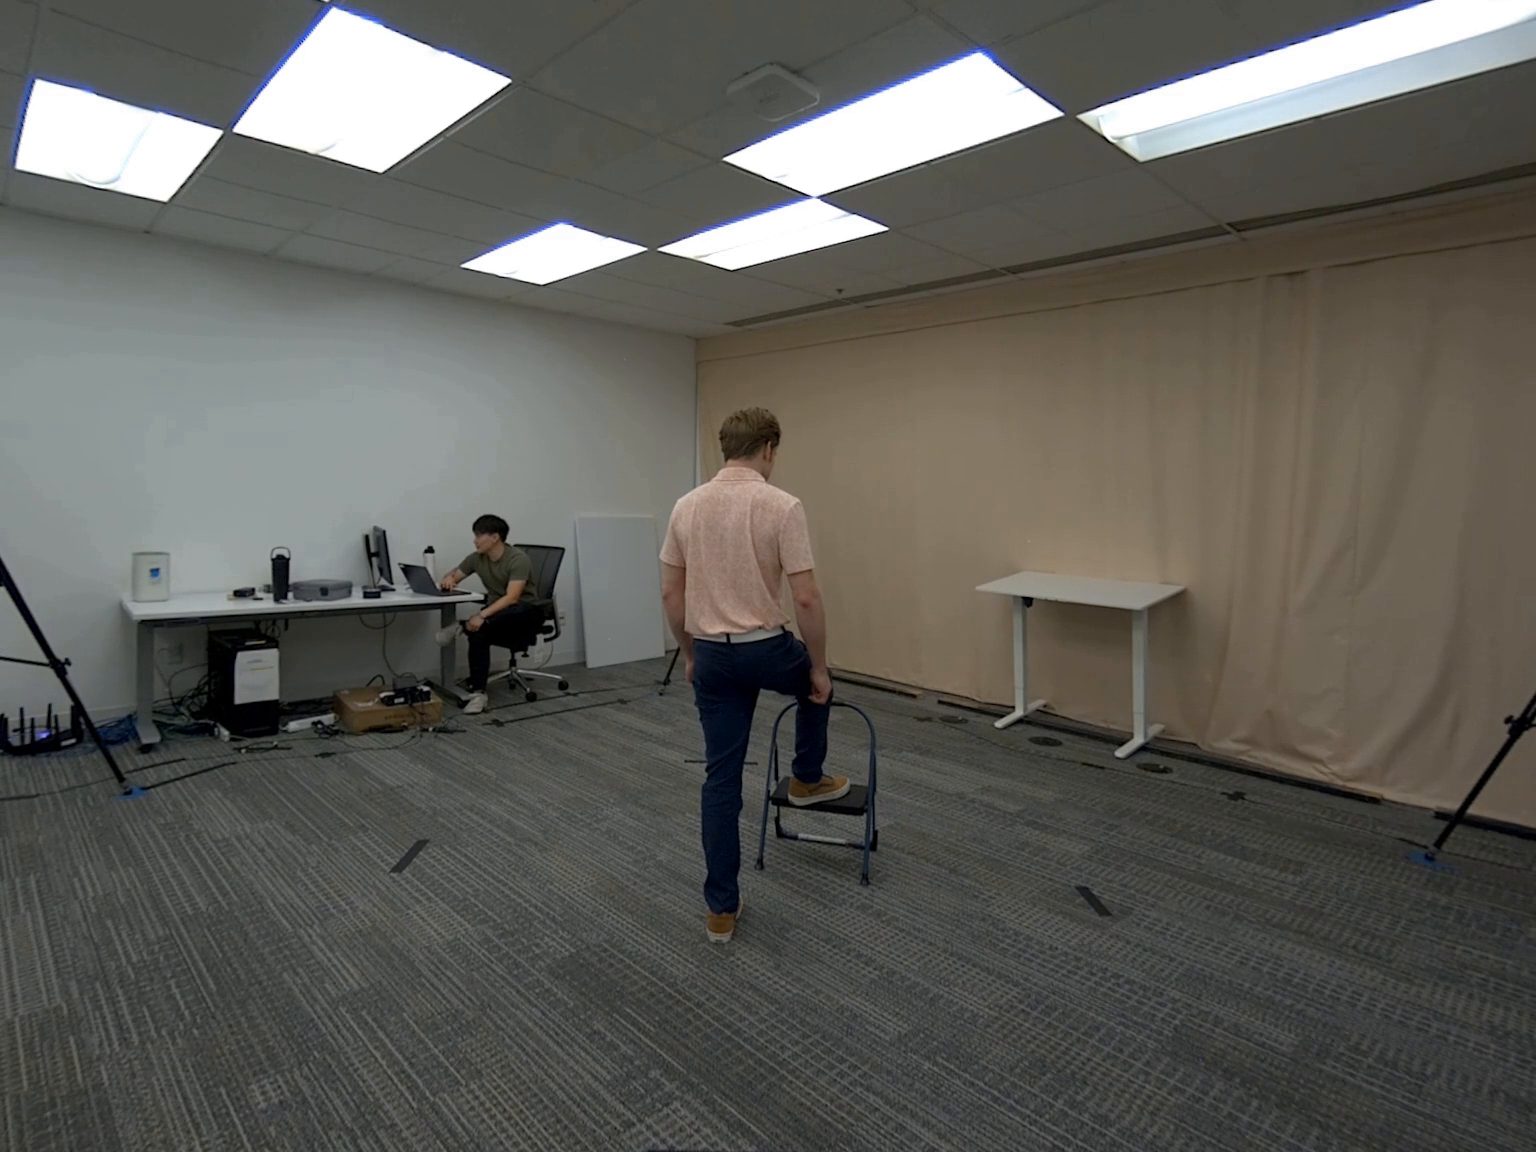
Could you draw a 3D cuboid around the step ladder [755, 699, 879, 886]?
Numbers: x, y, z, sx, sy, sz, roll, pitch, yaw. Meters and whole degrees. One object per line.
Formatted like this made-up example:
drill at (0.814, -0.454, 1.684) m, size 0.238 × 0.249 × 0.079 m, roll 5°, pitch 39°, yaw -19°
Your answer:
step ladder at (0.201, 0.797, 3.256) m, size 0.436 × 0.605 × 0.345 m, roll 2°, pitch 3°, yaw 15°
